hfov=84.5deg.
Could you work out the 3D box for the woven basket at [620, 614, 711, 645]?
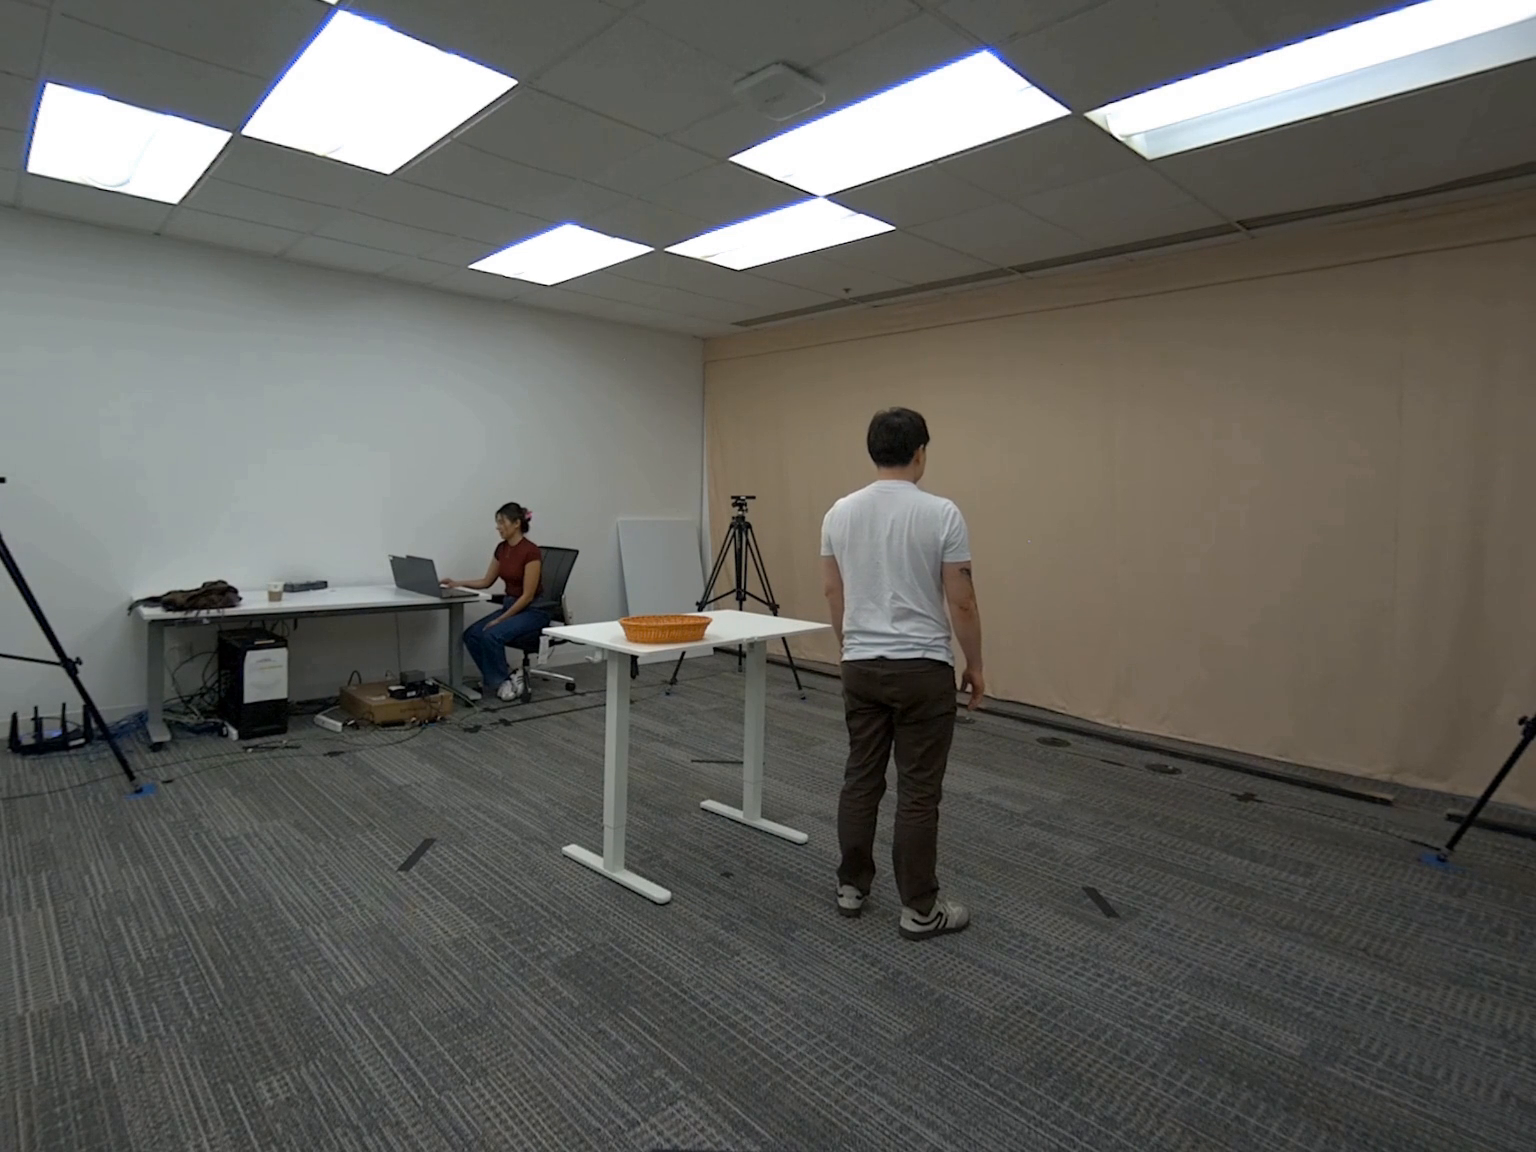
[{"bbox_3d":[-0.372,0.190,3.008,0.344,0.073,0.258,-1,6,-27],"label":"woven basket"}]
